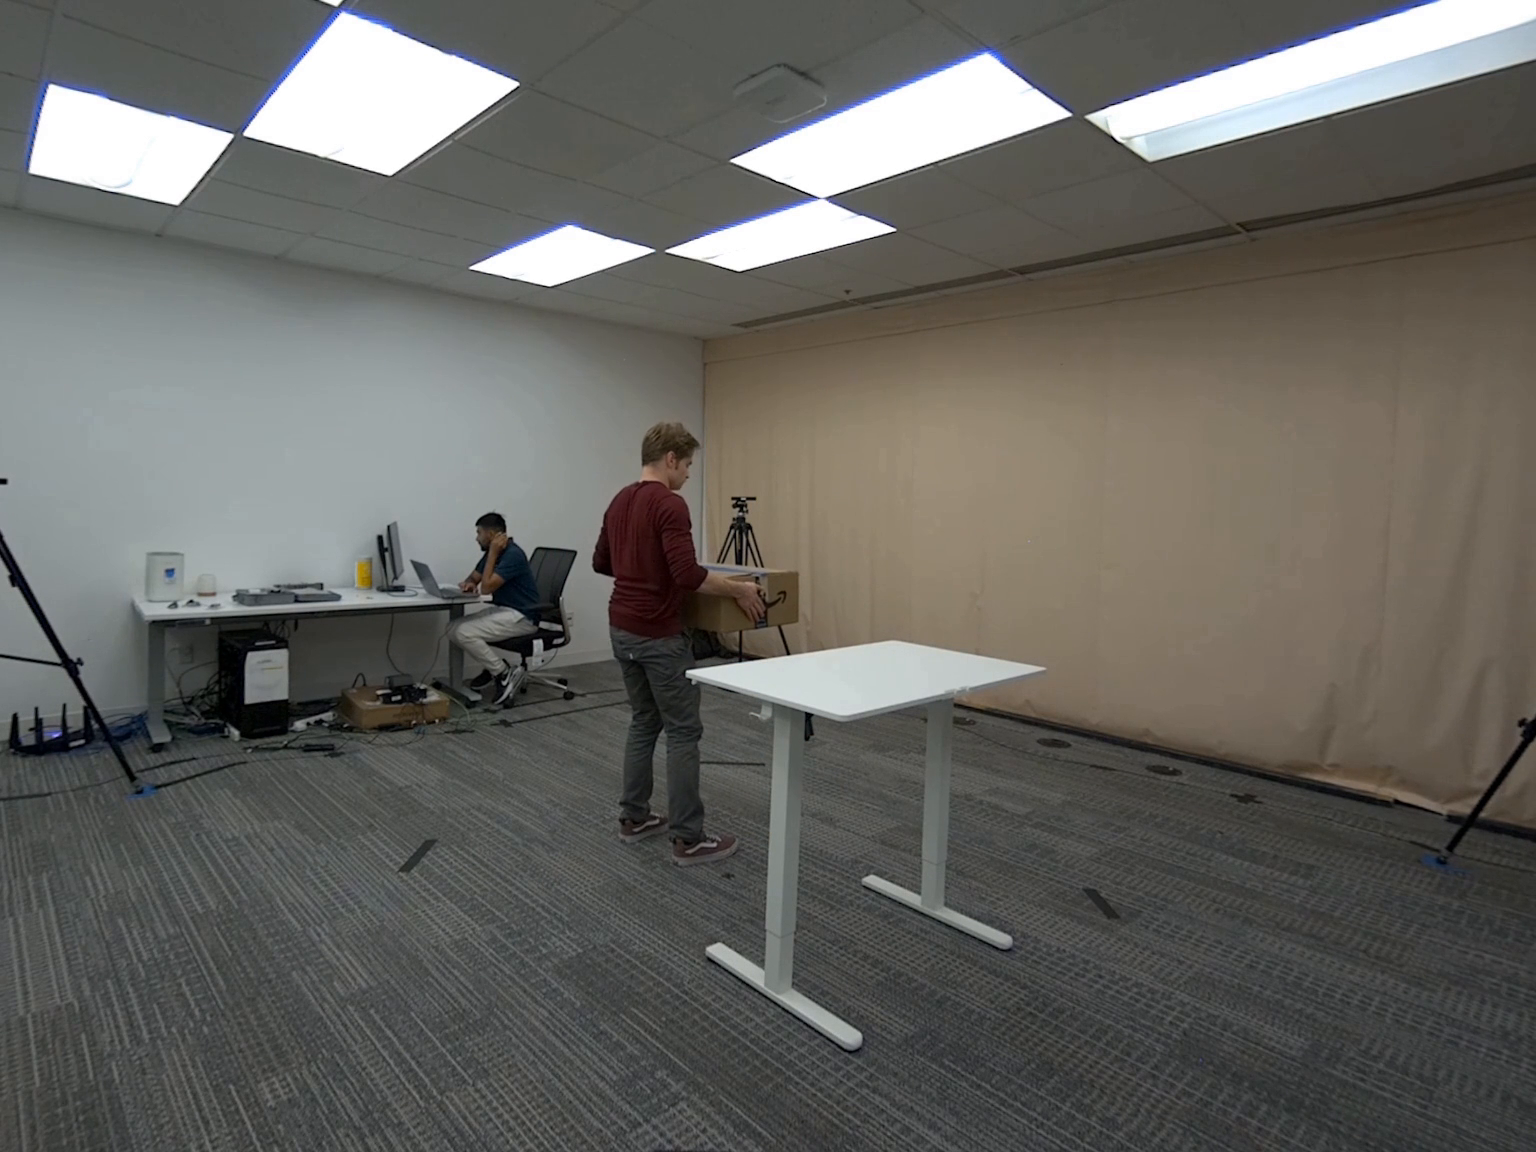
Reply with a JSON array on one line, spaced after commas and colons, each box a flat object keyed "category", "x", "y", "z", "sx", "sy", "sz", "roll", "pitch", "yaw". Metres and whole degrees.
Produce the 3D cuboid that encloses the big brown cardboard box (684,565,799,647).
[{"category": "big brown cardboard box", "x": -0.224, "y": 0.080, "z": 3.566, "sx": 0.408, "sy": 0.232, "sz": 0.604, "roll": -5, "pitch": 8, "yaw": -41}]
